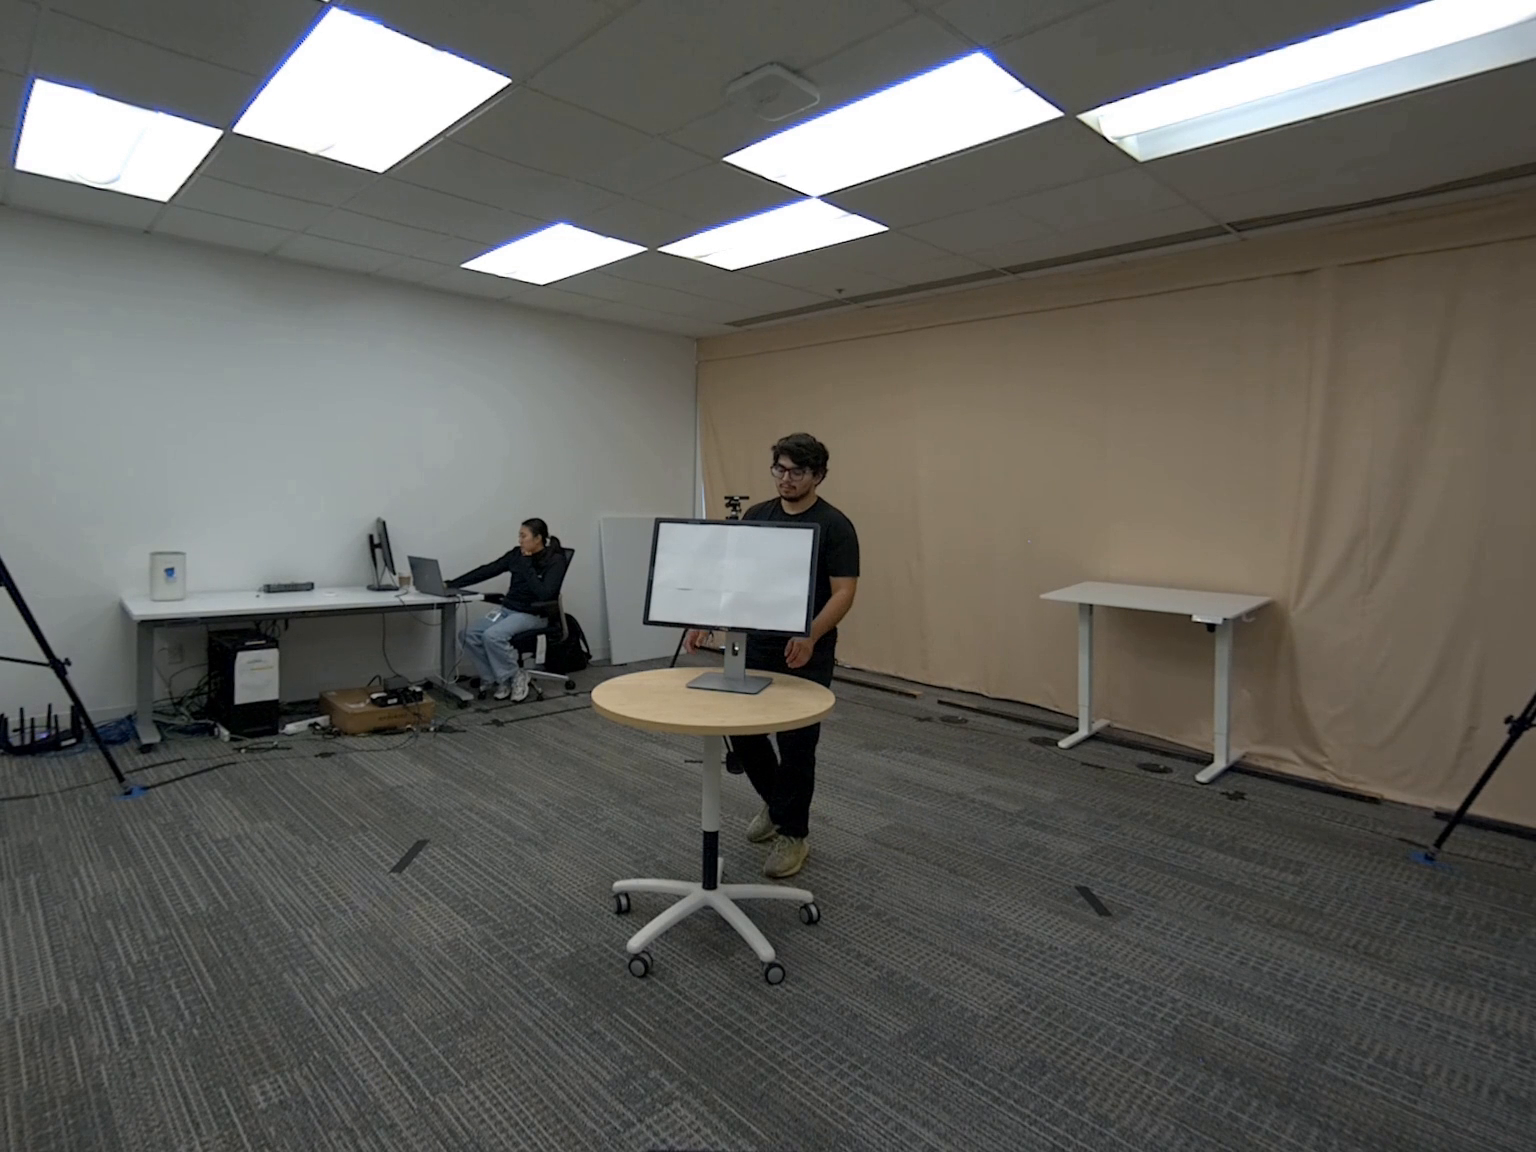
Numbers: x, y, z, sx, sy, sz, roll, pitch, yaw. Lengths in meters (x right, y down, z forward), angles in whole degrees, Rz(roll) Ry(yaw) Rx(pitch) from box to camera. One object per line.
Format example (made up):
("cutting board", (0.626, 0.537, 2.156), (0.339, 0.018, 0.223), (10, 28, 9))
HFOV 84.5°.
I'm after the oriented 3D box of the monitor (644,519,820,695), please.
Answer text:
("monitor", (-0.115, 0.094, 2.784), (0.573, 0.555, 0.207), (2, -3, 17))
